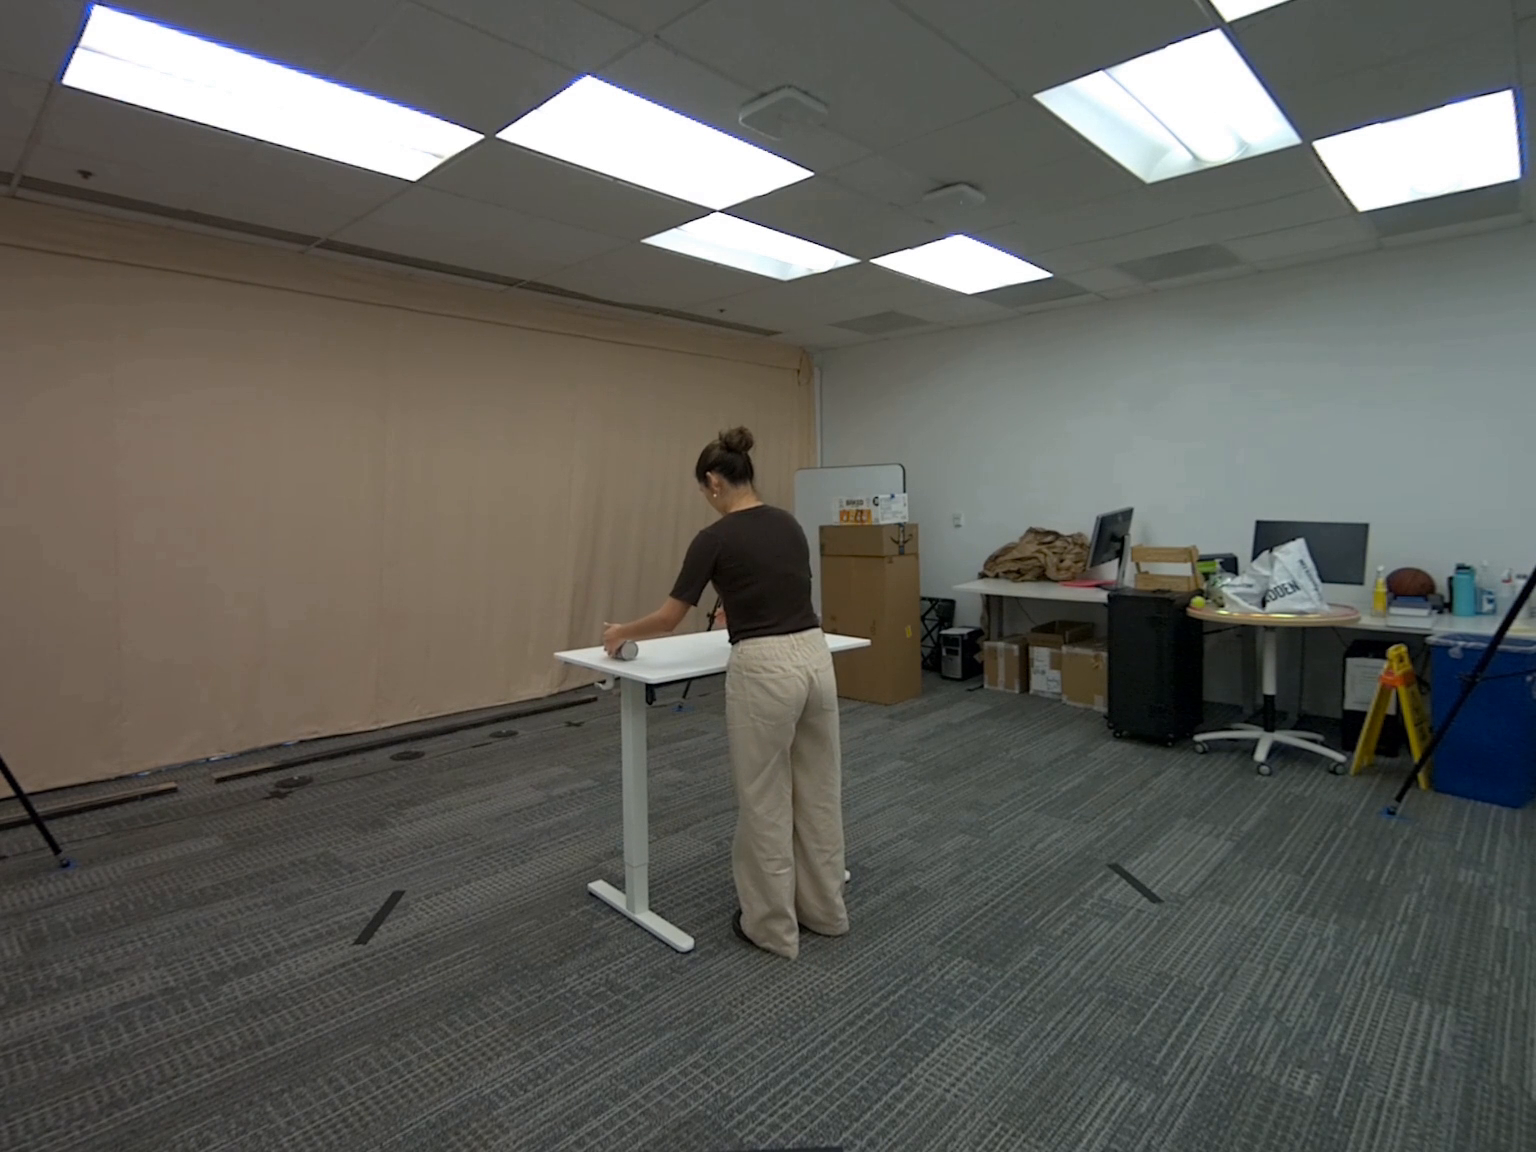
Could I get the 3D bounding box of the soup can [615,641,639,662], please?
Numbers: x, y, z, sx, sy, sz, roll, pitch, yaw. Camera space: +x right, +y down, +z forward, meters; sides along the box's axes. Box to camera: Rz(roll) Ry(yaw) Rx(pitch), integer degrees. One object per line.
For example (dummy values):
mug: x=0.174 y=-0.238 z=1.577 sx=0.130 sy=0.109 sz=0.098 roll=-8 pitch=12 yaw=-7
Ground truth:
soup can: x=-0.486 y=0.244 z=2.833 sx=0.065 sy=0.067 sz=0.125 roll=-3 pitch=6 yaw=-27
